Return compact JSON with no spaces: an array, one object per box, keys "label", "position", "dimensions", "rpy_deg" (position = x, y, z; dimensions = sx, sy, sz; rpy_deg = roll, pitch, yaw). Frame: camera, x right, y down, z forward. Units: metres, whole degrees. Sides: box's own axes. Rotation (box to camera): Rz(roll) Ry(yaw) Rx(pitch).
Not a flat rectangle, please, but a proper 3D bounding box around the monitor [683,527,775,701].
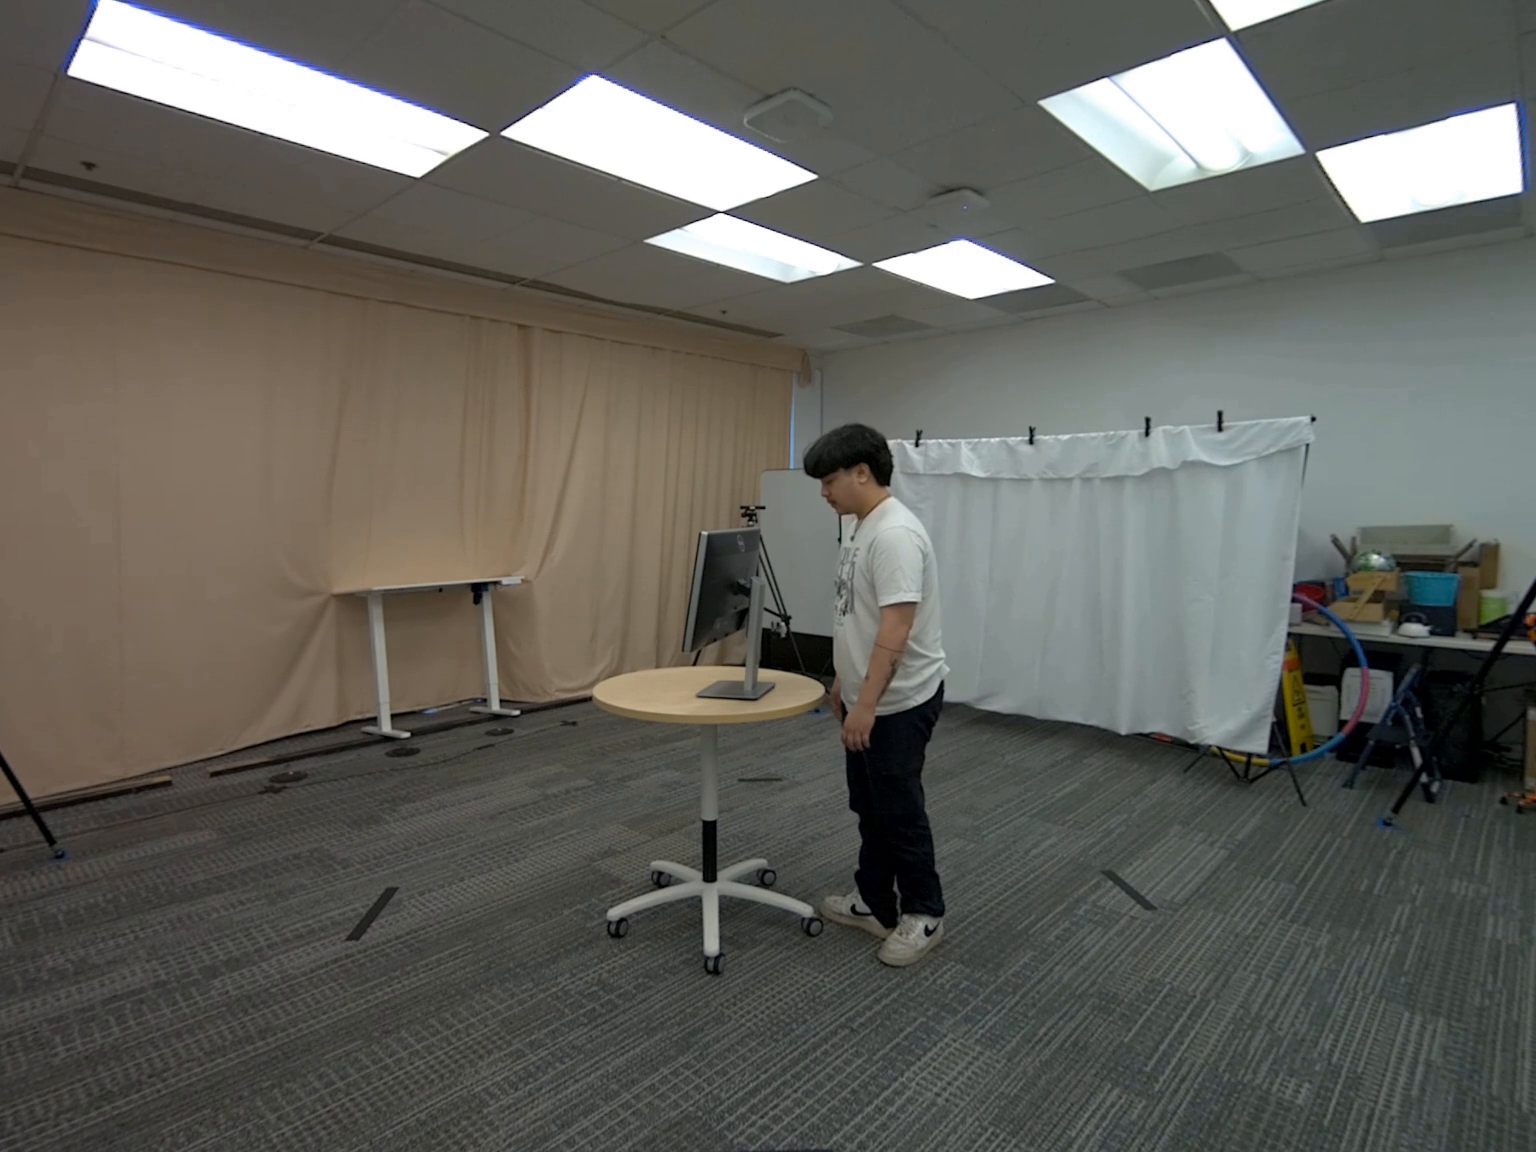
[{"label":"monitor","position":[-0.075,0.124,2.696],"dimensions":[0.214,0.552,0.556],"rpy_deg":[5,5,16]}]
